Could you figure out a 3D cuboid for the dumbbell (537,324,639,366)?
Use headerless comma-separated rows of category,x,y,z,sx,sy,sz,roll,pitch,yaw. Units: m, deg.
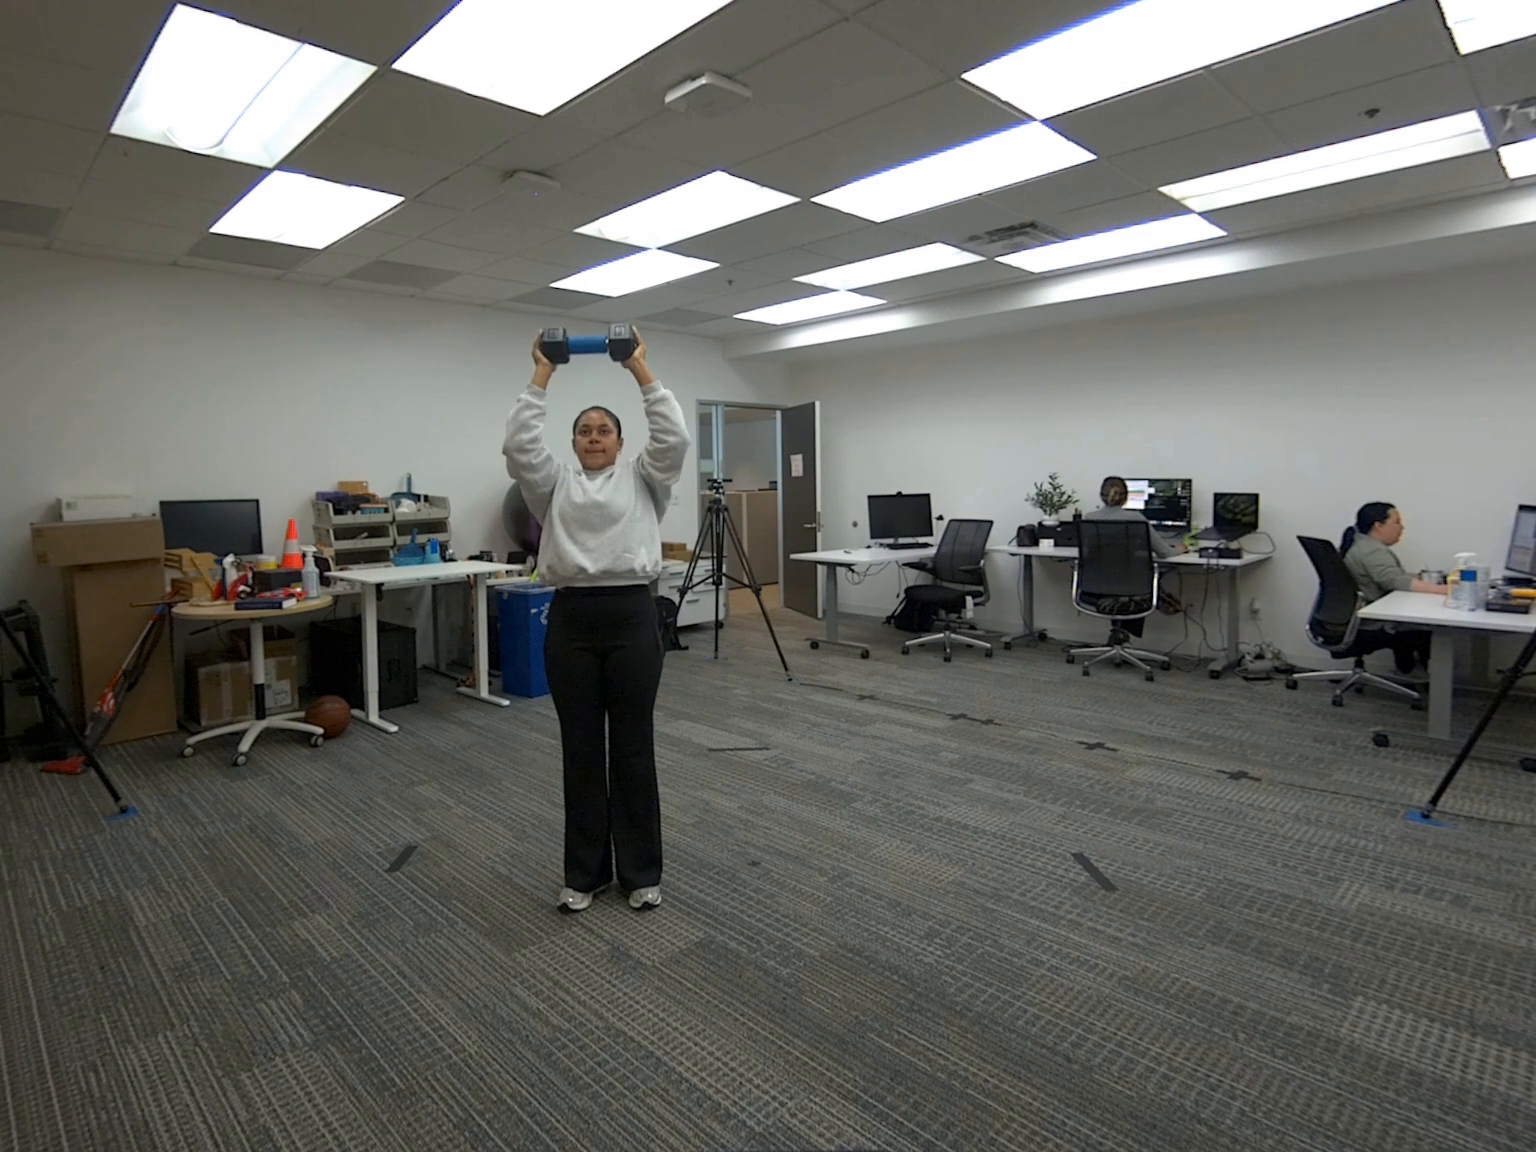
dumbbell,-0.568,-0.741,2.752,0.293,0.120,0.111,-3,32,-2
